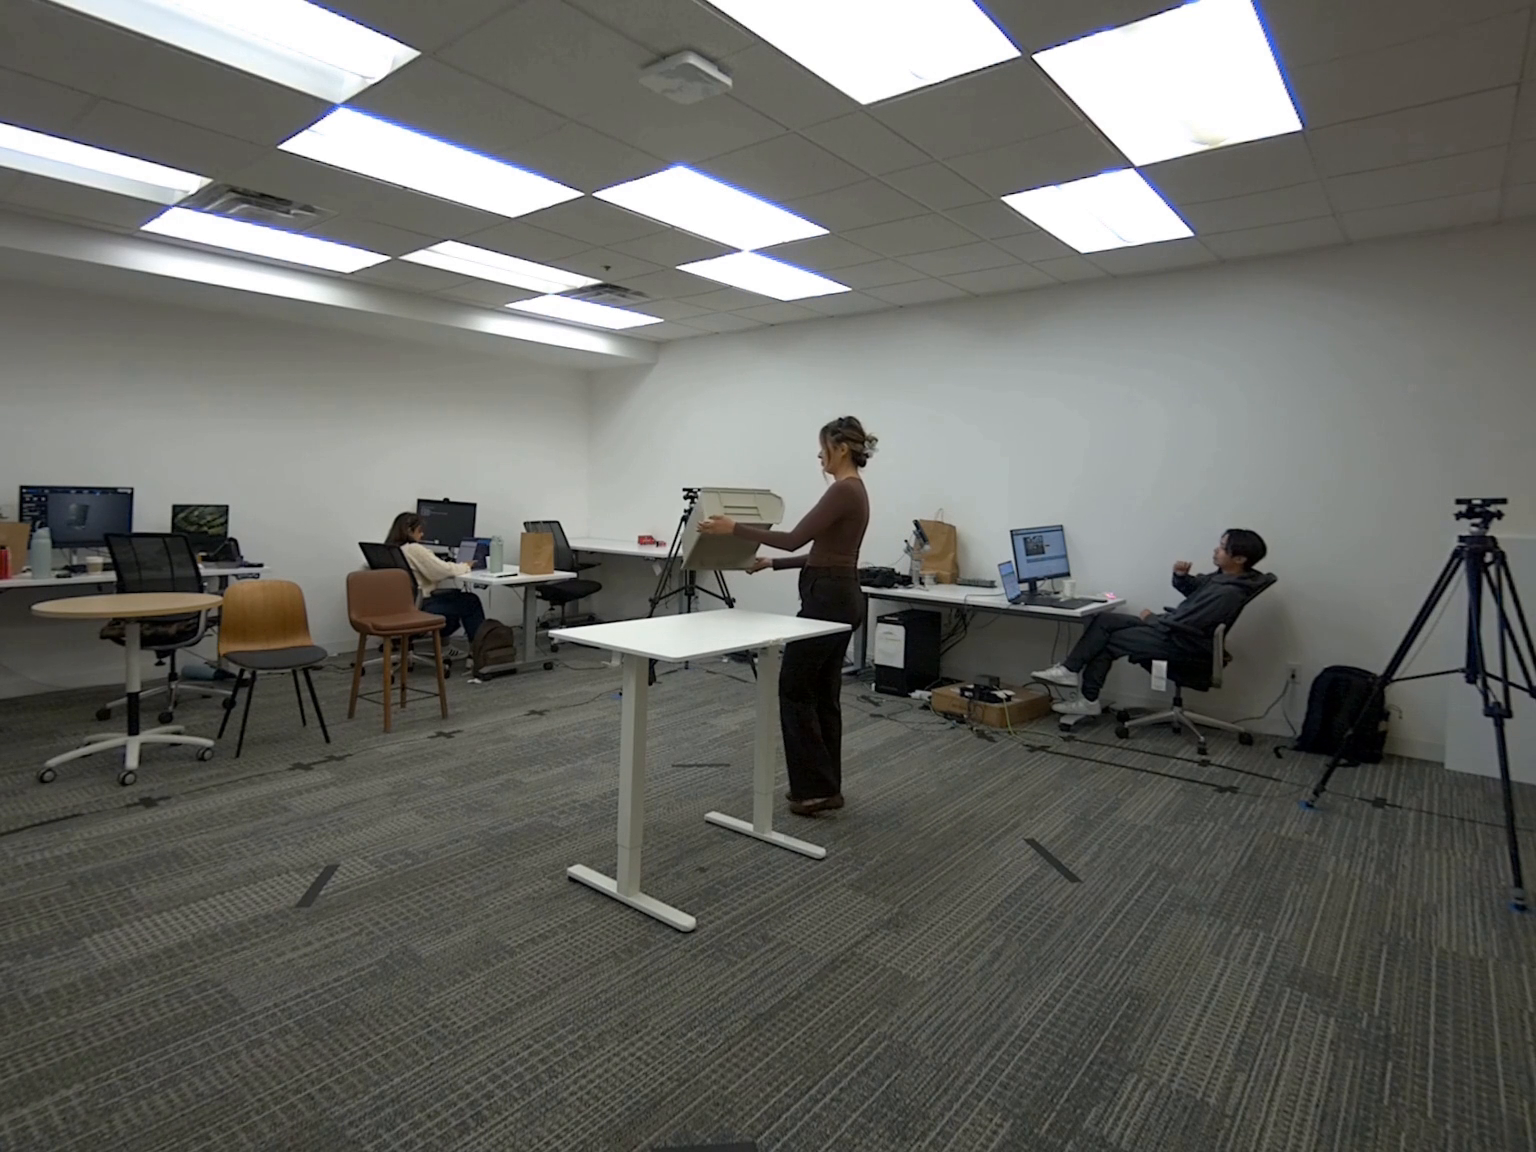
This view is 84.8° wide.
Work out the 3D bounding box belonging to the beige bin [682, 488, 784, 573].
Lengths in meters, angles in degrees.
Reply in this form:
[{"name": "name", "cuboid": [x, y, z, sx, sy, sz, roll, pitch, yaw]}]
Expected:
[{"name": "beige bin", "cuboid": [-0.180, -0.209, 3.794, 0.371, 0.194, 0.418, 0, -28, -17]}]
